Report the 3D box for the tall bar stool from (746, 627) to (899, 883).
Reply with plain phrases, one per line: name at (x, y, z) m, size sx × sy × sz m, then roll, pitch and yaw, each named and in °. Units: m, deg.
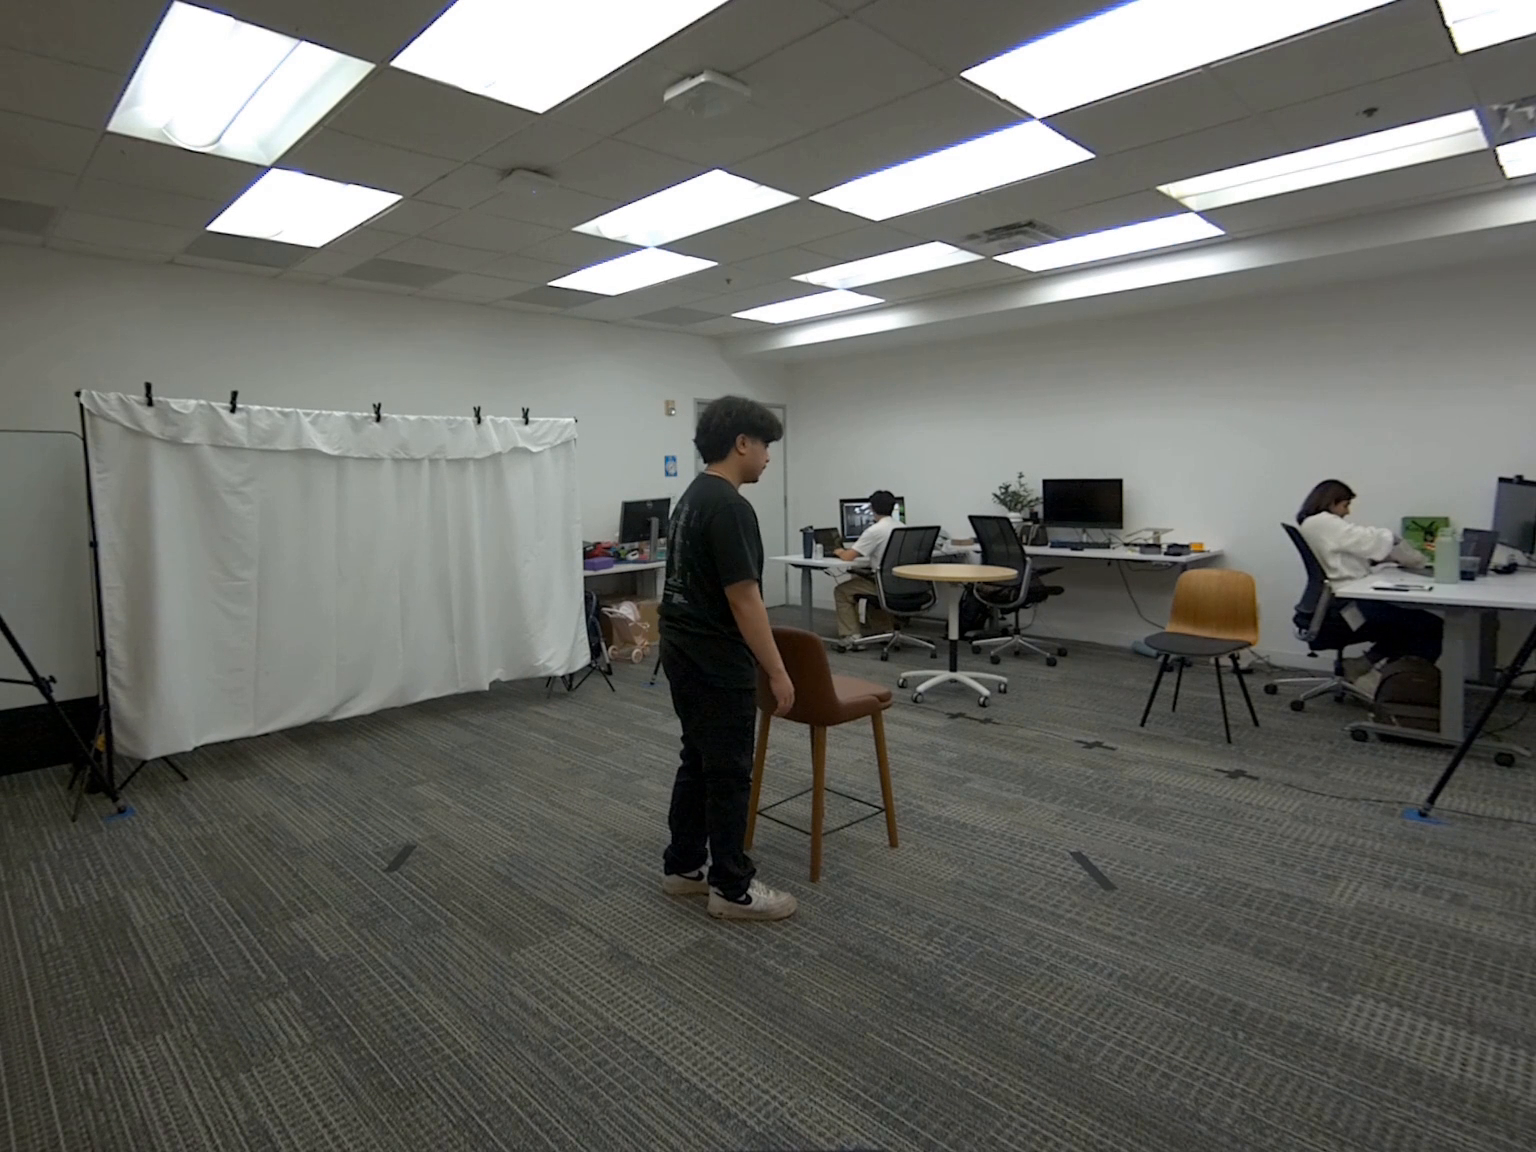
tall bar stool at (0.178, 0.590, 3.198) m, size 0.456 × 0.885 × 0.470 m, roll -7°, pitch 7°, yaw -42°
